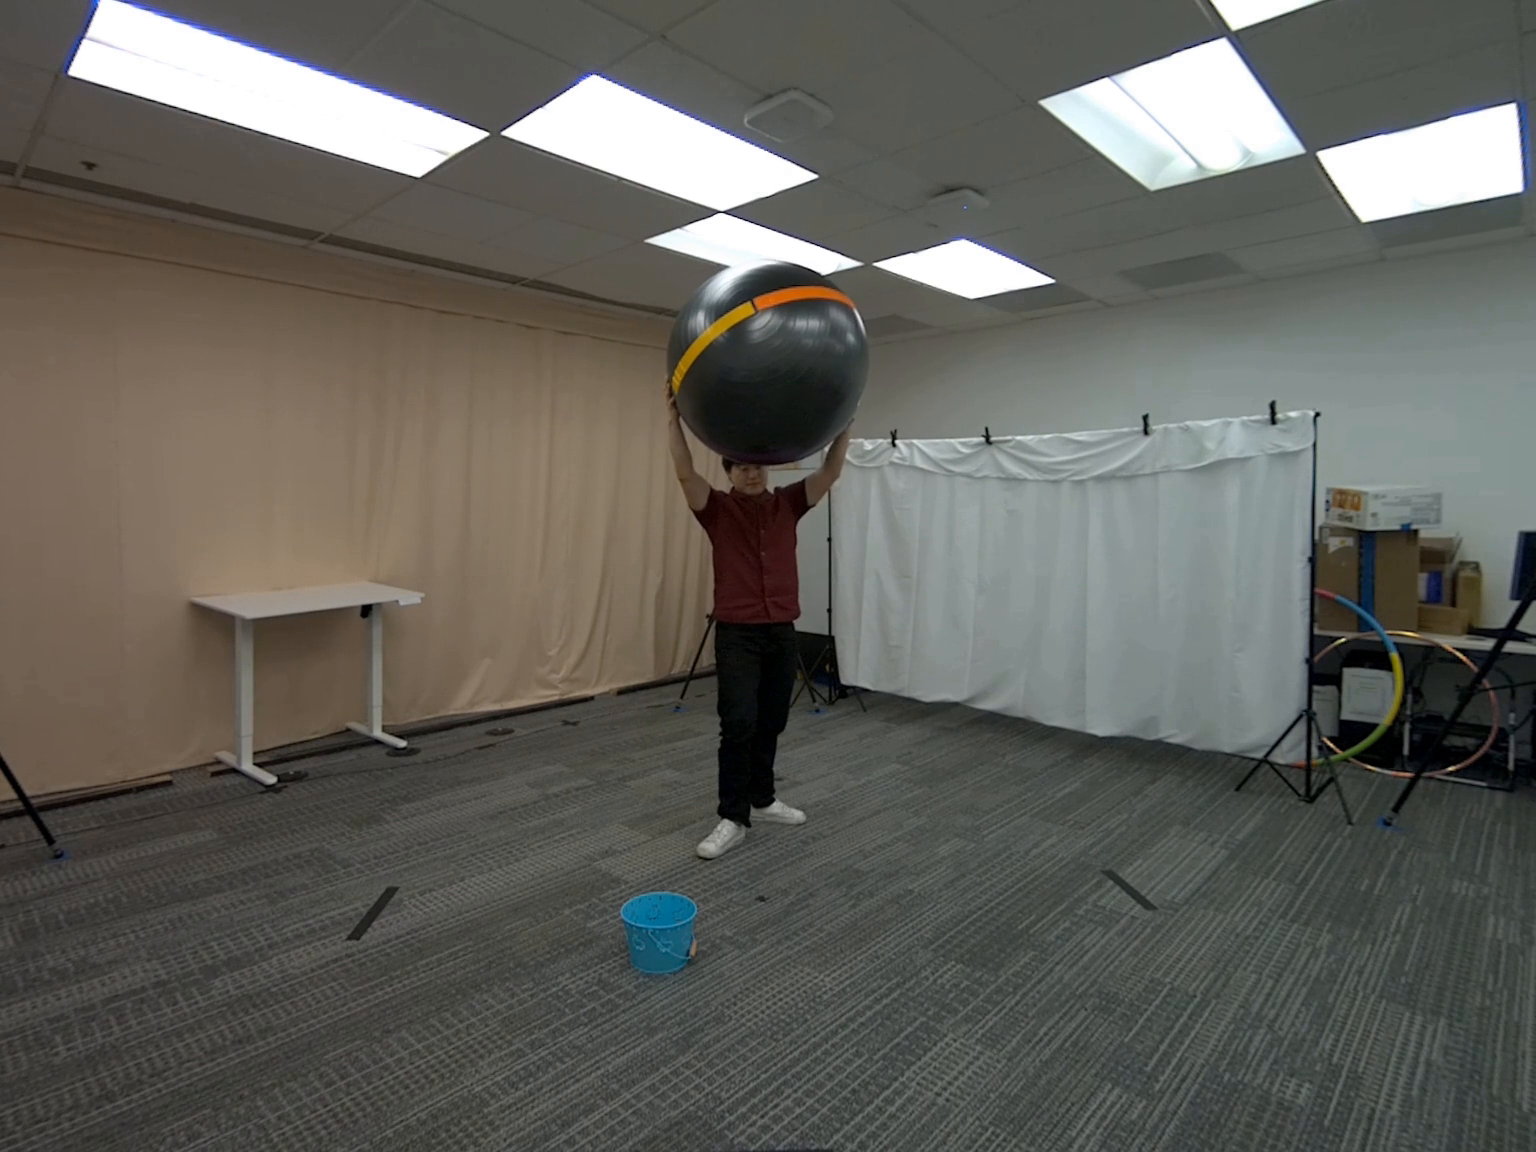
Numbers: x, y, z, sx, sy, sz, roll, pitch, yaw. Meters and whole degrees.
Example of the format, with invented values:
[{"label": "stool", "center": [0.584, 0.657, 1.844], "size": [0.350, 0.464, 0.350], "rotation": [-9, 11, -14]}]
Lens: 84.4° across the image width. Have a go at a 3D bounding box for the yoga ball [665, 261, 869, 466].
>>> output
[{"label": "yoga ball", "center": [-0.003, -0.789, 3.175], "size": [0.757, 0.756, 0.760], "rotation": [0, 4, -2]}]
